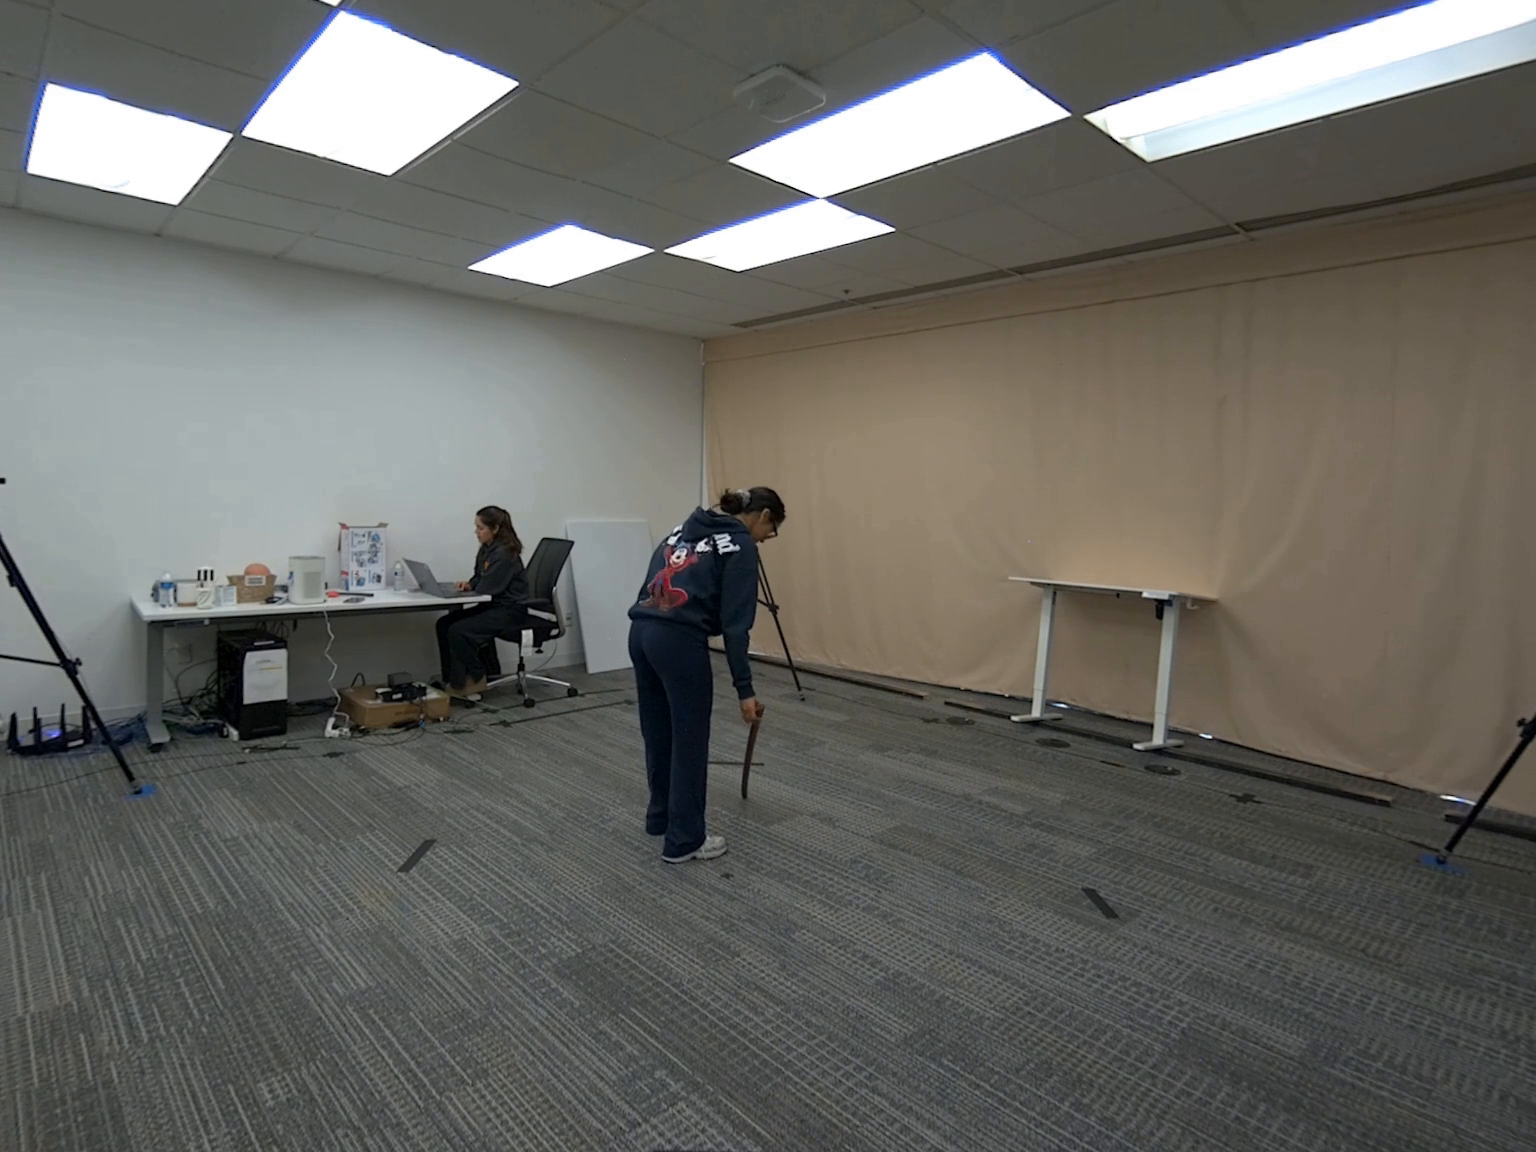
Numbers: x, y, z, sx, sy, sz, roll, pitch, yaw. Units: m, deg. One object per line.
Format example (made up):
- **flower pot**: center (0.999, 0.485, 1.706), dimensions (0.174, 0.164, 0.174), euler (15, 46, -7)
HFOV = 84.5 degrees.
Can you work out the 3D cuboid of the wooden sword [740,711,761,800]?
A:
- **wooden sword**: center (-0.081, 0.767, 3.521), dimensions (0.052, 0.024, 1.009), euler (37, -30, 14)
